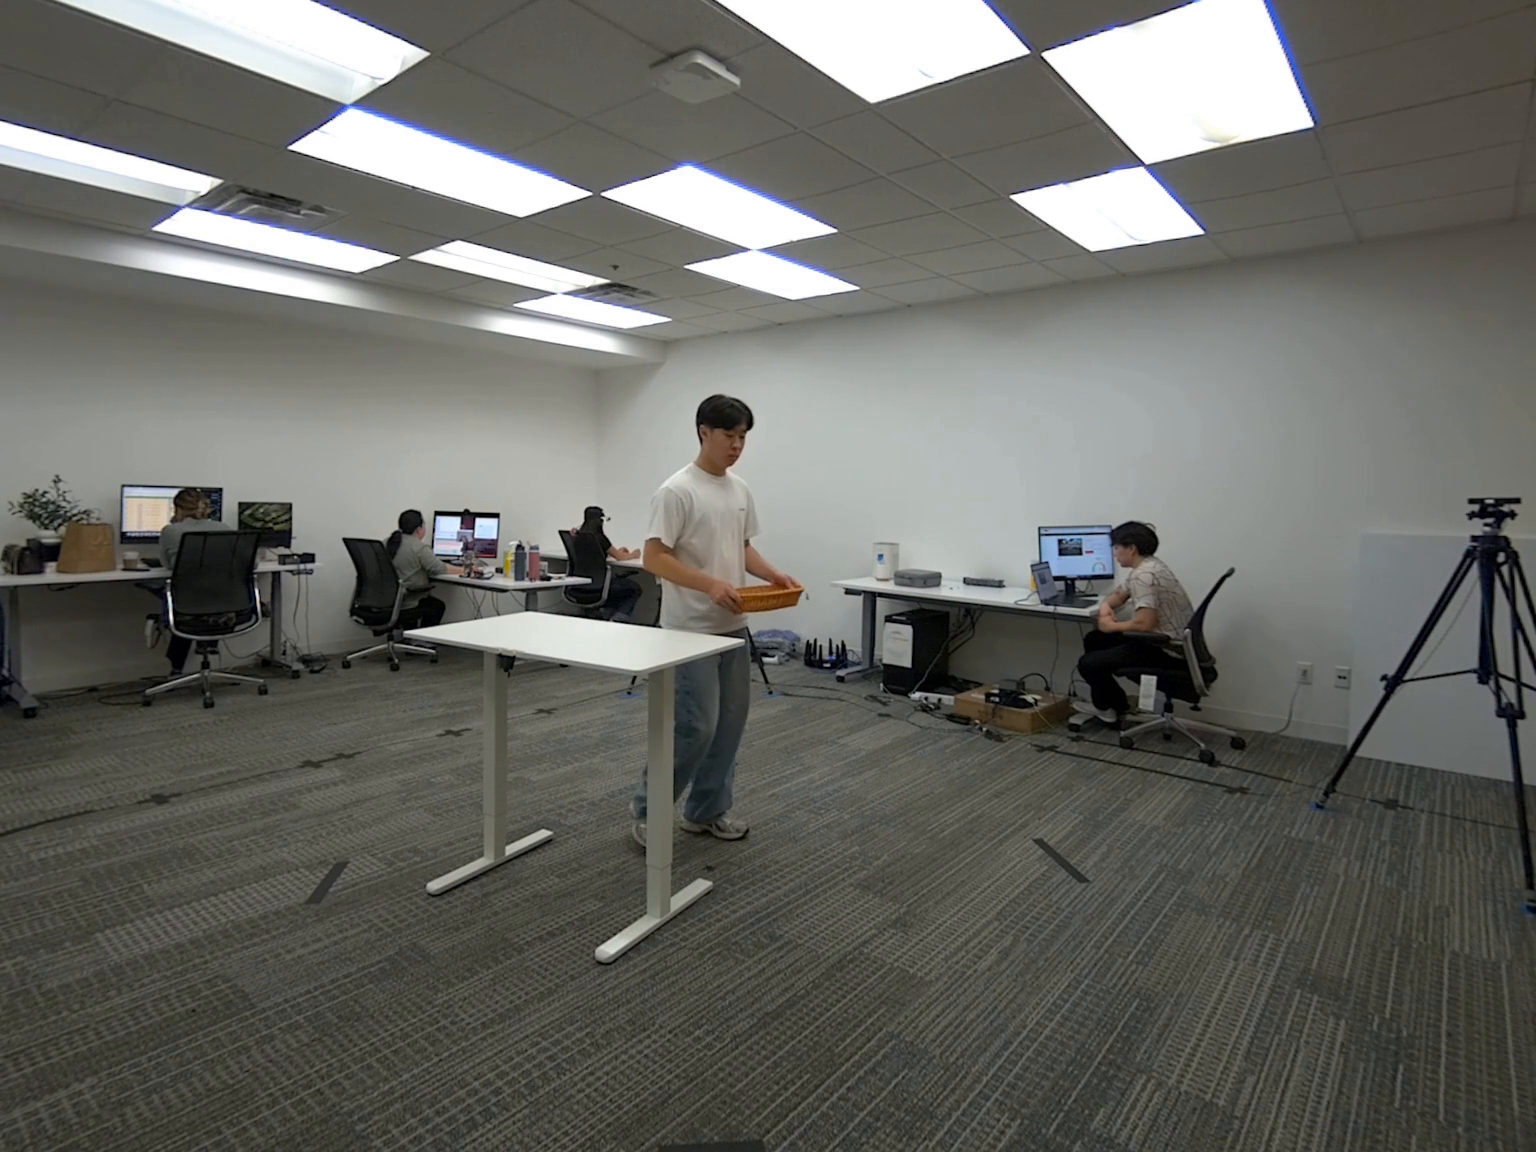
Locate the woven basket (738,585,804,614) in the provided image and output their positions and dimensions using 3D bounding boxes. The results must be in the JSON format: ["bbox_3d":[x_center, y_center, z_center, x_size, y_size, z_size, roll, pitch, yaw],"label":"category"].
[{"bbox_3d":[-0.049,0.085,3.199,0.340,0.073,0.260,-5,6,-39],"label":"woven basket"}]
